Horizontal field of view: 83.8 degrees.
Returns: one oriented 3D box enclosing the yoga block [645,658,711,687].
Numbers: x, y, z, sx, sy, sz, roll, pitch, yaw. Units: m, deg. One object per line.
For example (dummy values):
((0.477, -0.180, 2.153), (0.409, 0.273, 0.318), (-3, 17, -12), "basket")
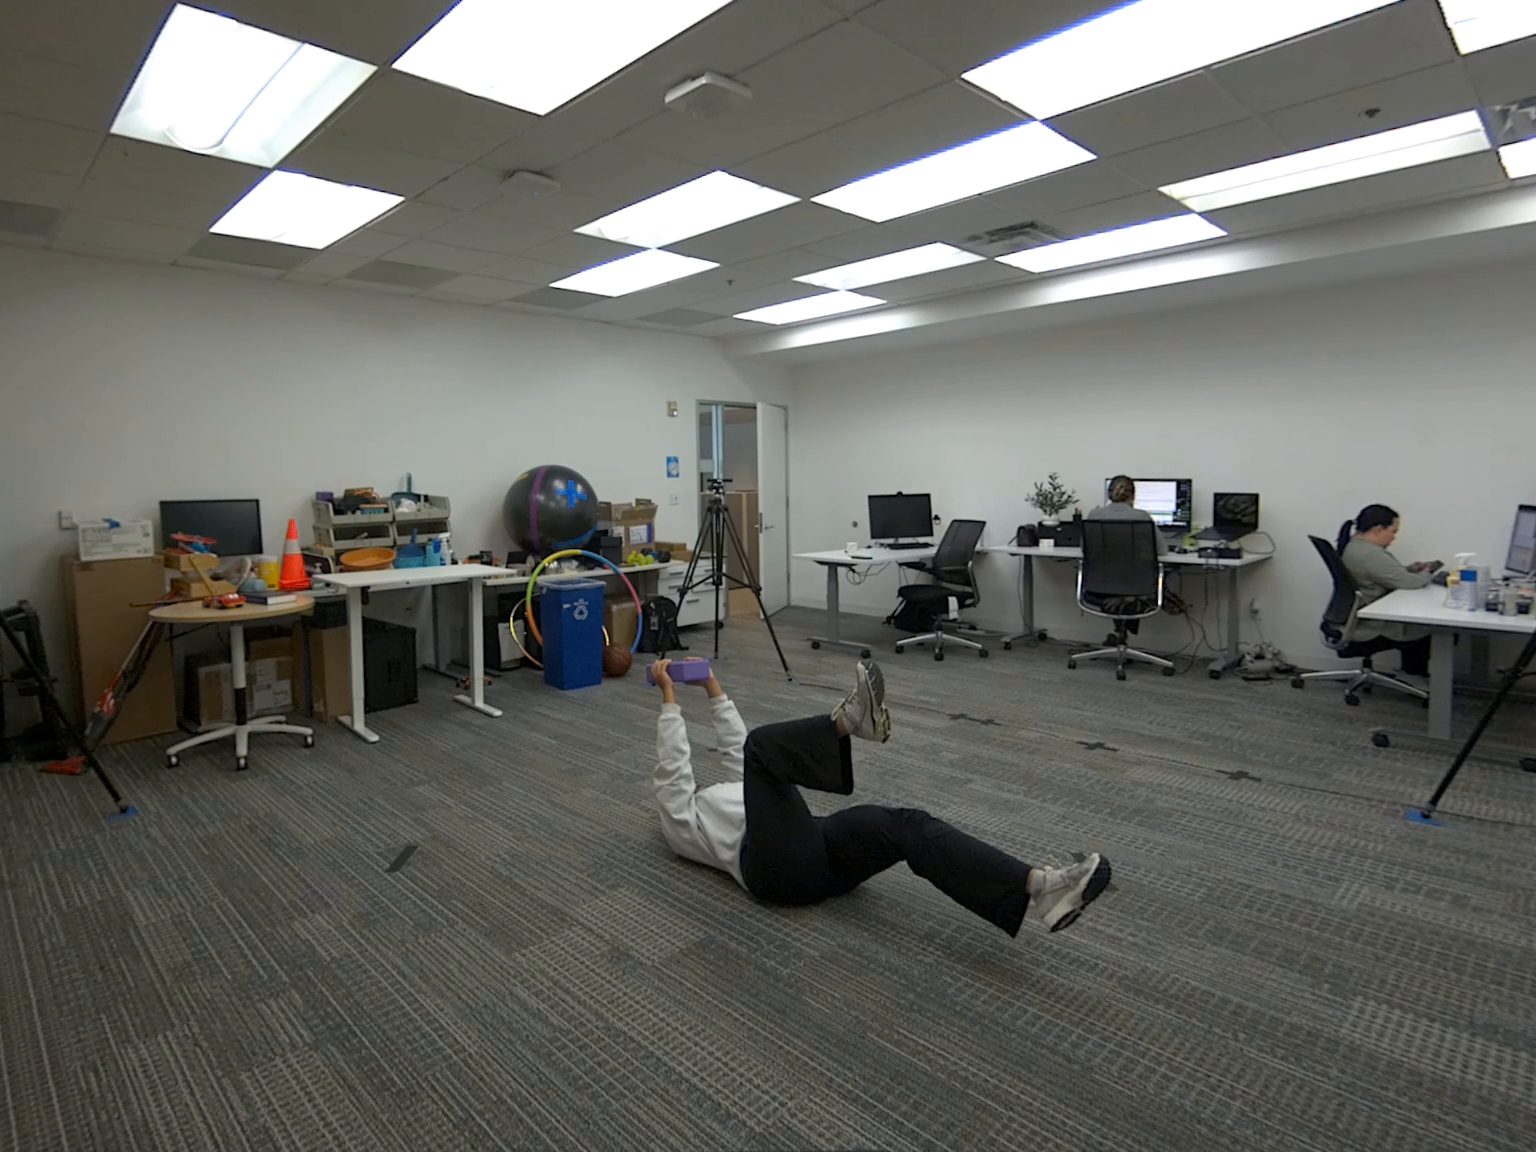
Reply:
((-0.359, 0.378, 3.384), (0.235, 0.077, 0.144), (-8, -7, 43), "yoga block")
